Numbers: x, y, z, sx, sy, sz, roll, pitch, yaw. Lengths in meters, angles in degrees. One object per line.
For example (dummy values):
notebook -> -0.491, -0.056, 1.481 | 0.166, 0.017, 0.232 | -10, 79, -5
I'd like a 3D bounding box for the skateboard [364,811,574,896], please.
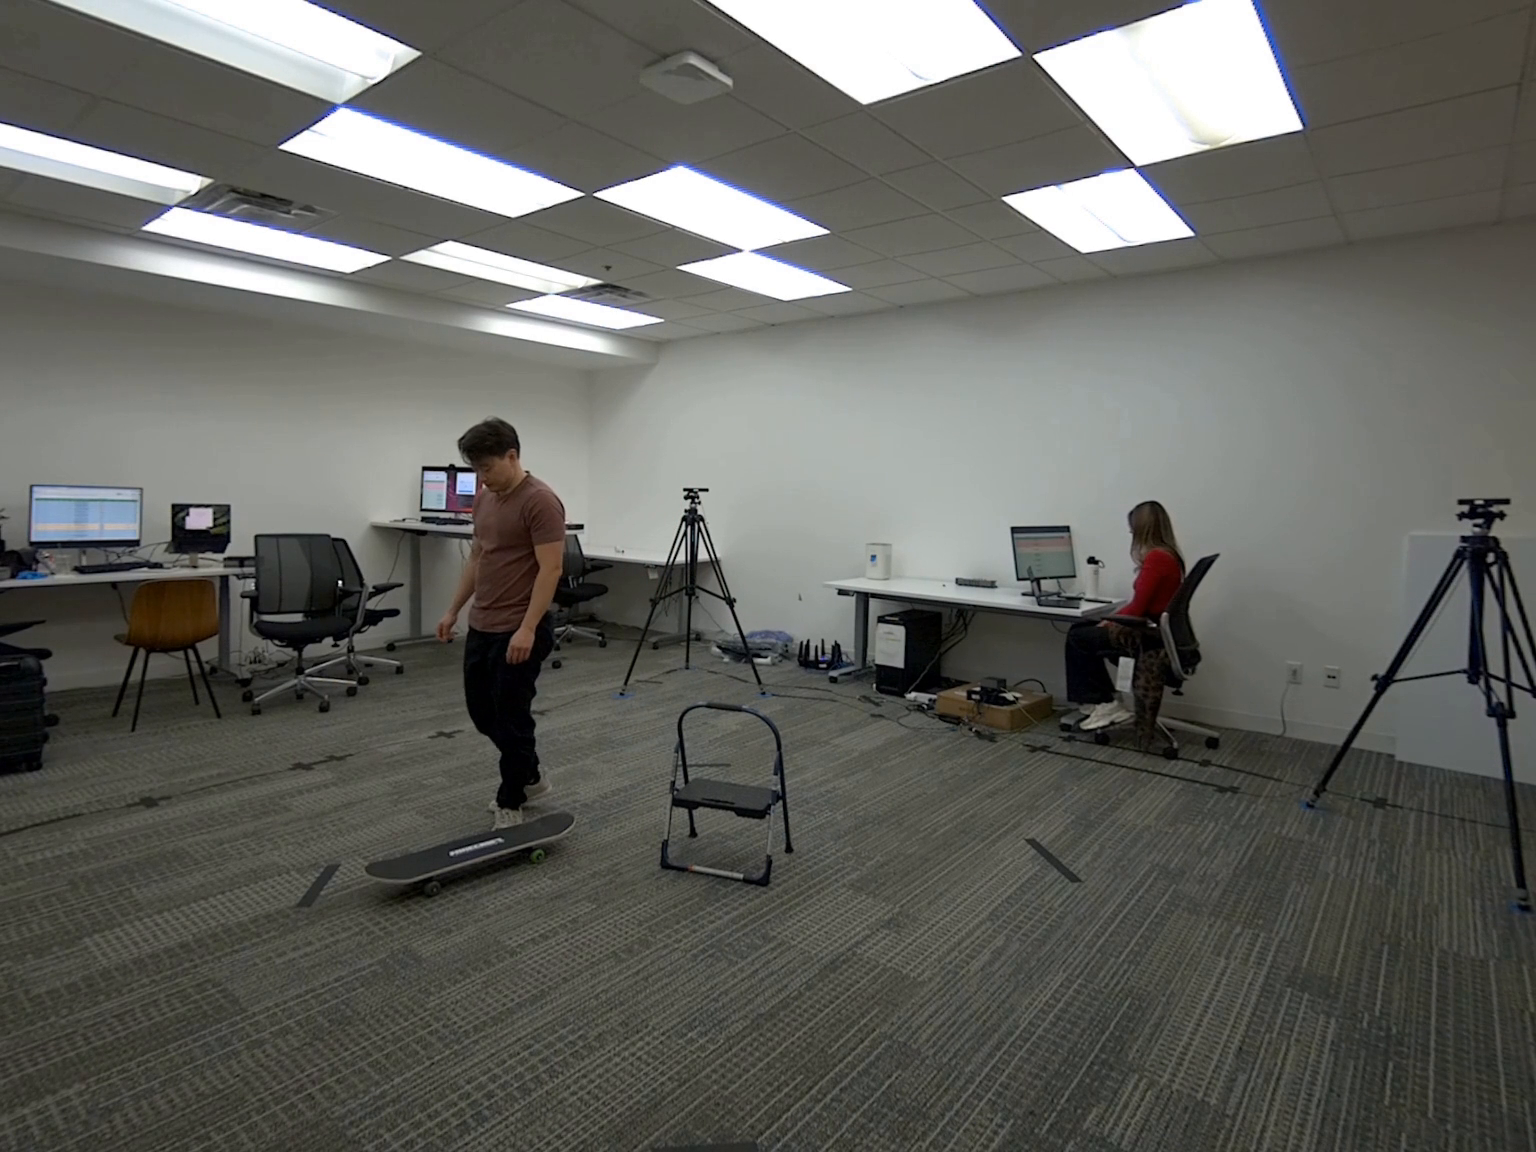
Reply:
skateboard -> -1.059, 1.009, 3.067 | 0.762, 0.110, 0.200 | -5, 7, -42
